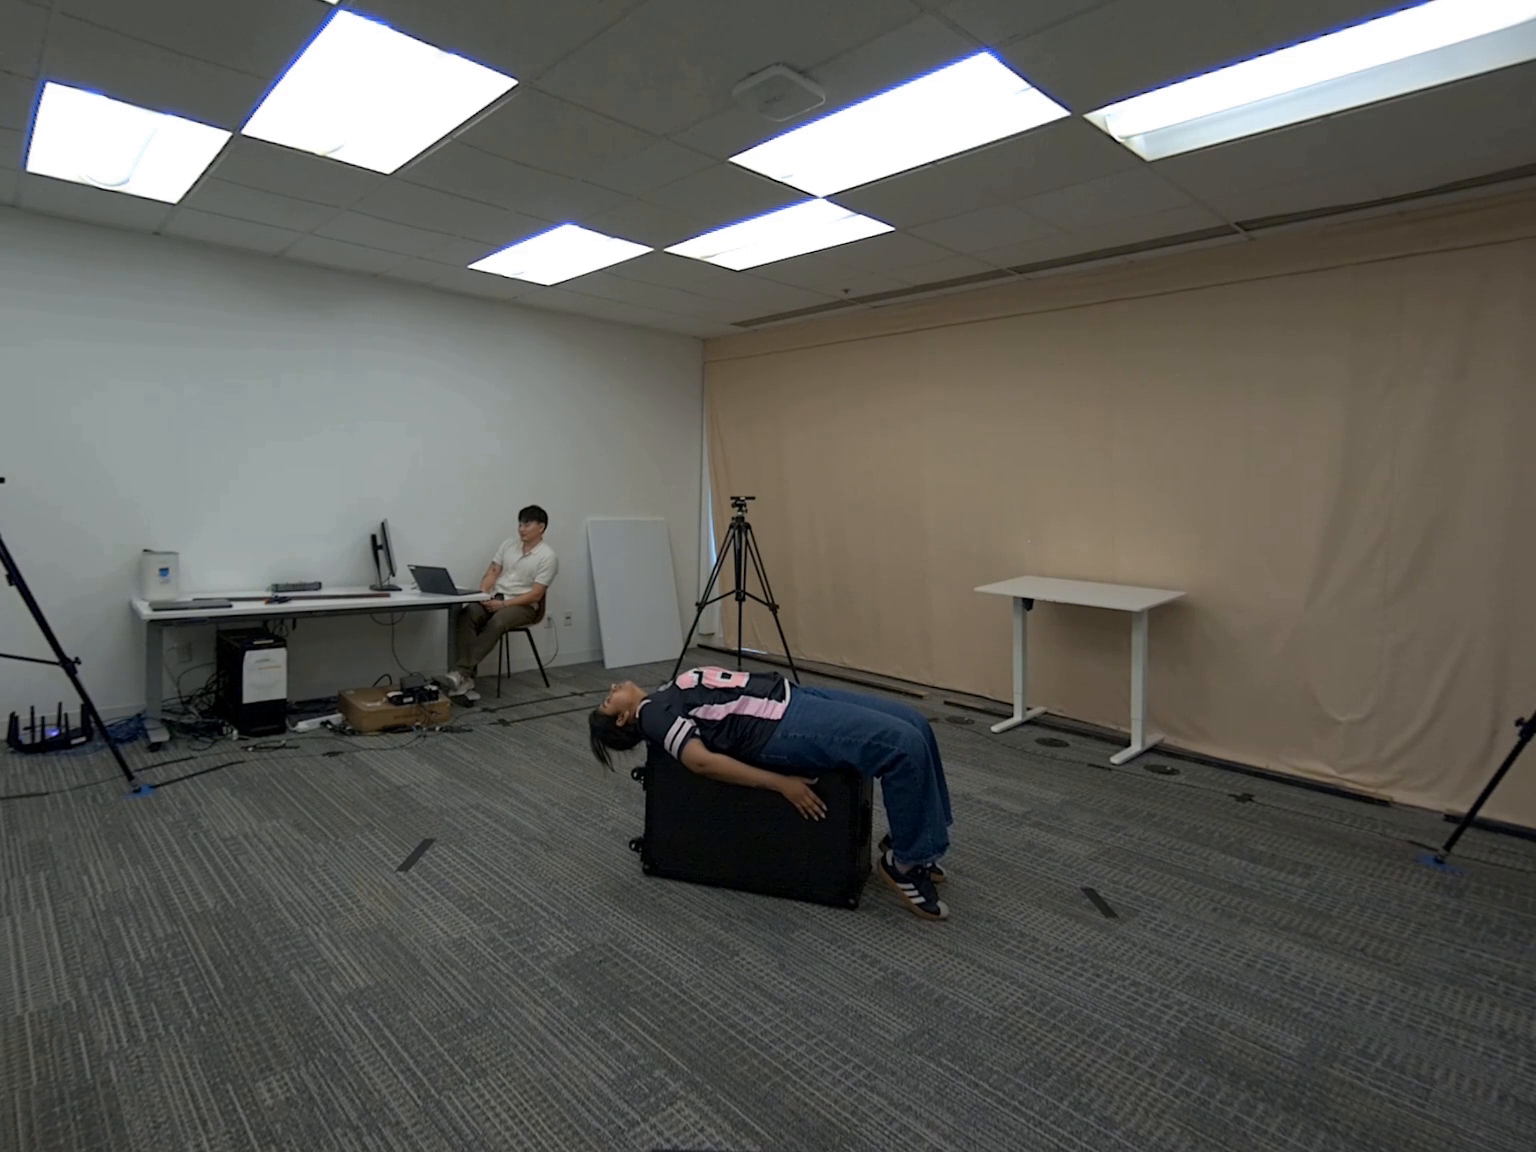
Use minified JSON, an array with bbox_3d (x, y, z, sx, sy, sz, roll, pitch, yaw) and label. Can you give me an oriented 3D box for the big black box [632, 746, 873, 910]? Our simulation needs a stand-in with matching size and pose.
[{"bbox_3d":[-0.068,0.848,3.131,0.881,0.521,0.381,3,5,18],"label":"big black box"}]
